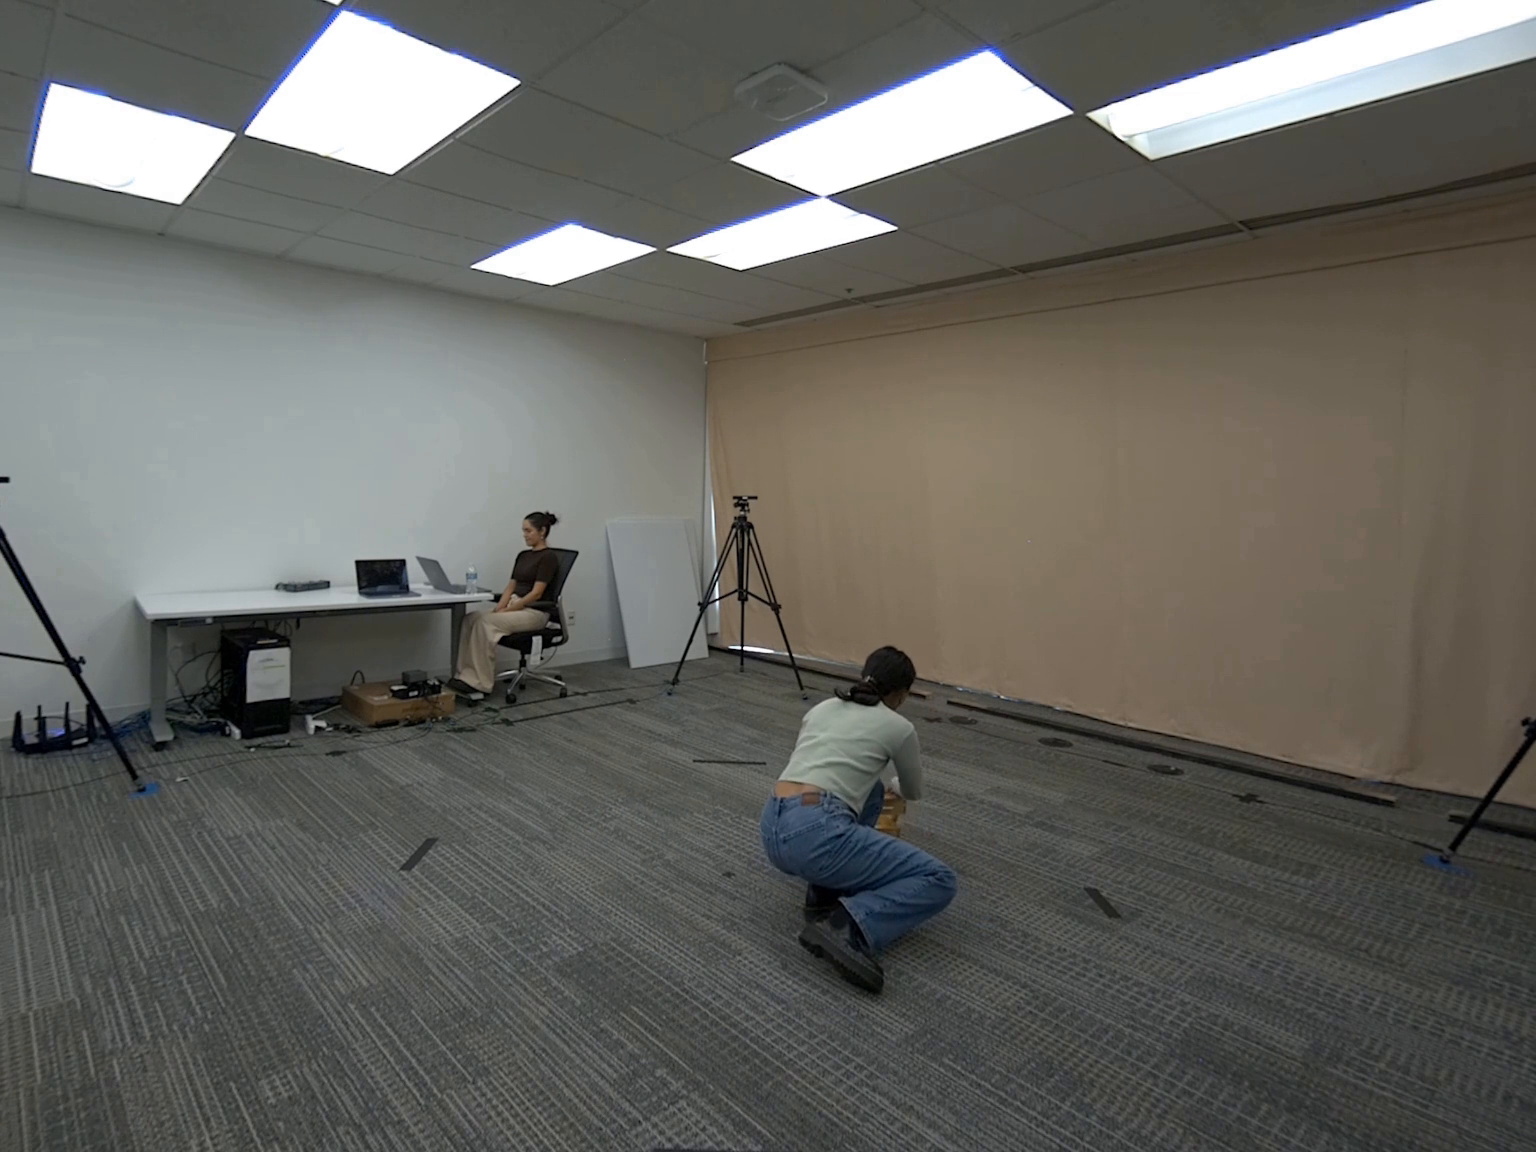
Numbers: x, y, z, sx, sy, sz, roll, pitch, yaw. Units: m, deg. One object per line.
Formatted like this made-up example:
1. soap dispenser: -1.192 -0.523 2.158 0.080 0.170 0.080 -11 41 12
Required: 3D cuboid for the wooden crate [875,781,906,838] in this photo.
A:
1. wooden crate: 0.363 0.952 3.425 0.322 0.272 0.305 1 5 -10
